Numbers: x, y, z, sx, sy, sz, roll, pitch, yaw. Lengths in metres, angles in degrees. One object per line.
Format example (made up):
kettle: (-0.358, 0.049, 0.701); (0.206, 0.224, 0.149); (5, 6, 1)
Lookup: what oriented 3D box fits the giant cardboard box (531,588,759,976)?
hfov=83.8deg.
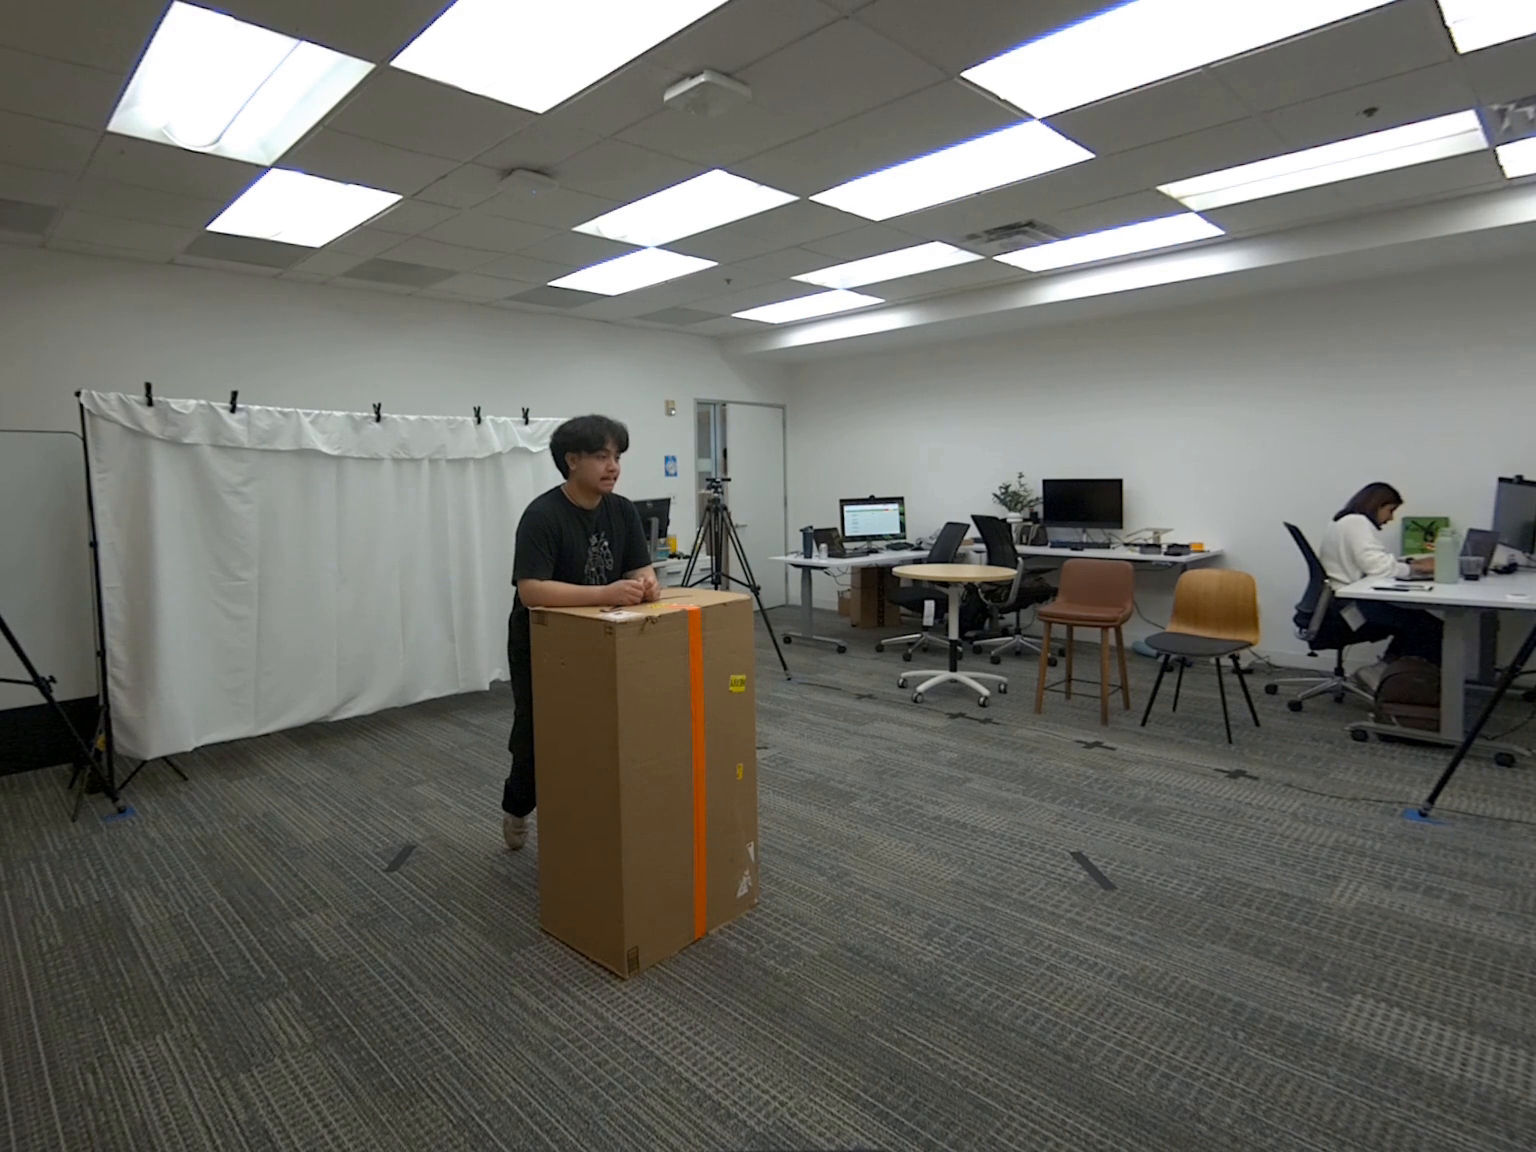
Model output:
giant cardboard box: (-0.376, 0.585, 2.705); (0.461, 1.022, 0.569); (4, 7, 43)
